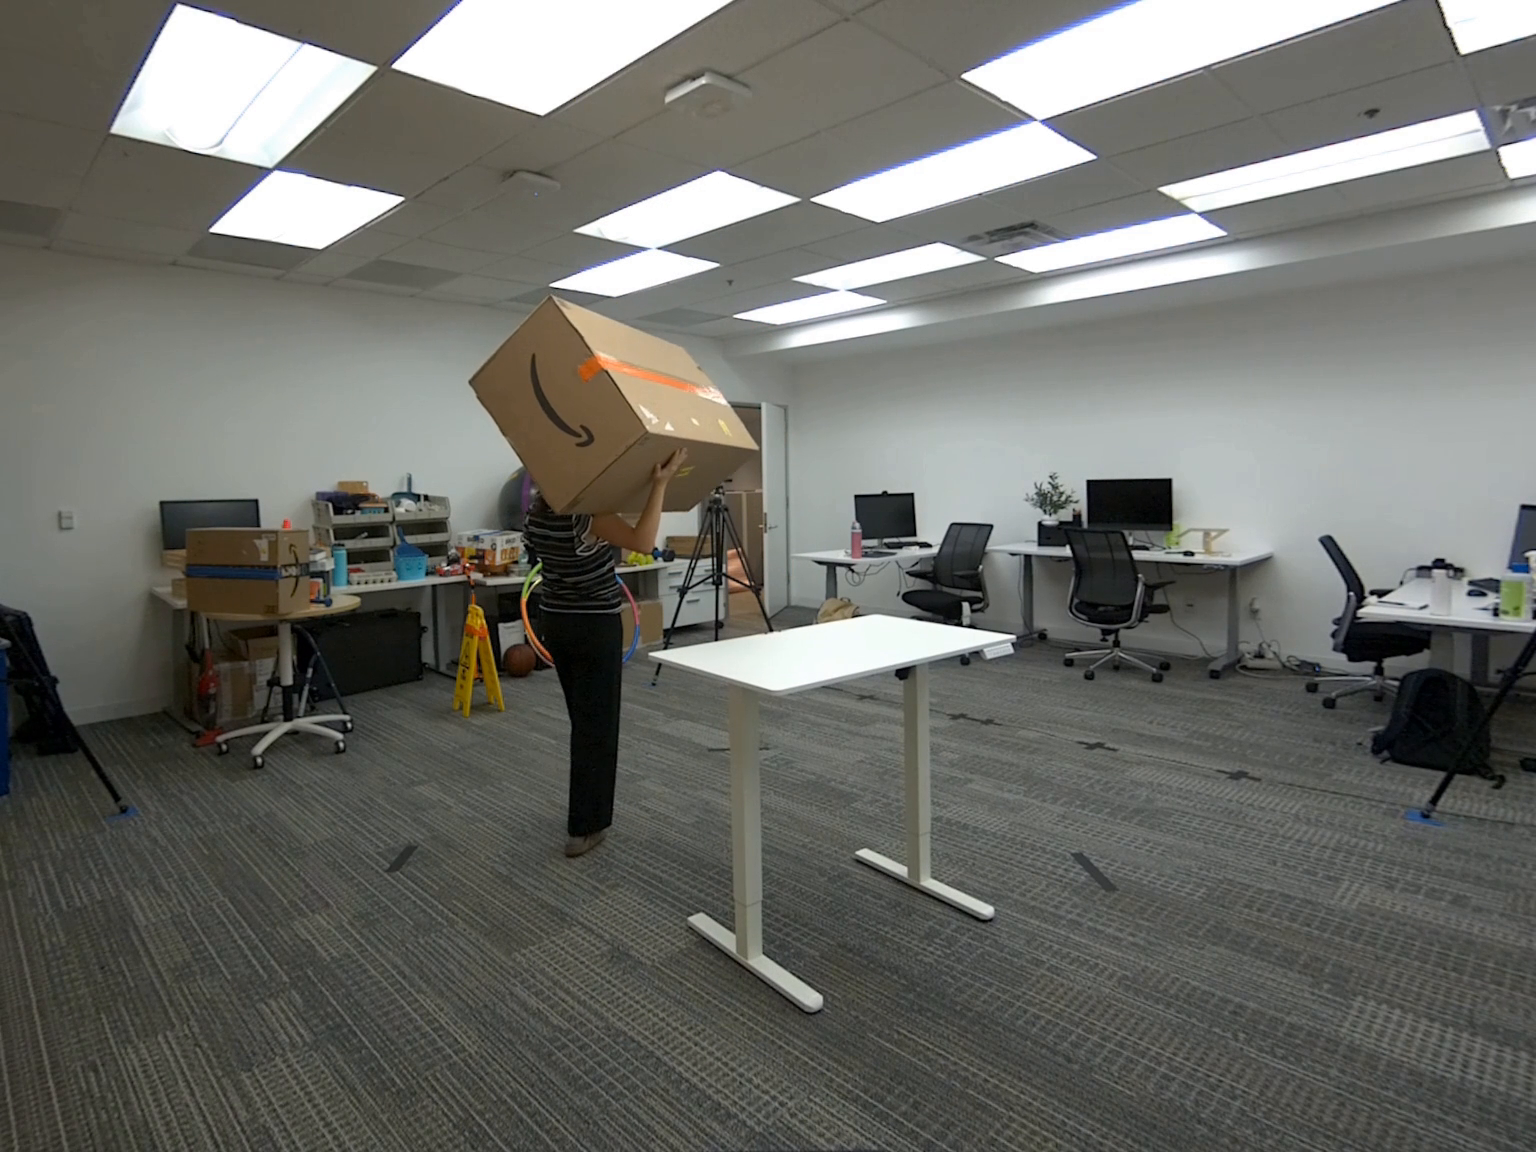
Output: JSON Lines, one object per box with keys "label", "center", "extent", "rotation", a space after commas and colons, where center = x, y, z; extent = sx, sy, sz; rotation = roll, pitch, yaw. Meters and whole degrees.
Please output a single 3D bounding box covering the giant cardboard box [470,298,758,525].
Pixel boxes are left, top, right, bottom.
{"label": "giant cardboard box", "center": [-0.520, -0.589, 3.215], "extent": [0.427, 0.586, 1.008], "rotation": [-39, -9, 18]}
